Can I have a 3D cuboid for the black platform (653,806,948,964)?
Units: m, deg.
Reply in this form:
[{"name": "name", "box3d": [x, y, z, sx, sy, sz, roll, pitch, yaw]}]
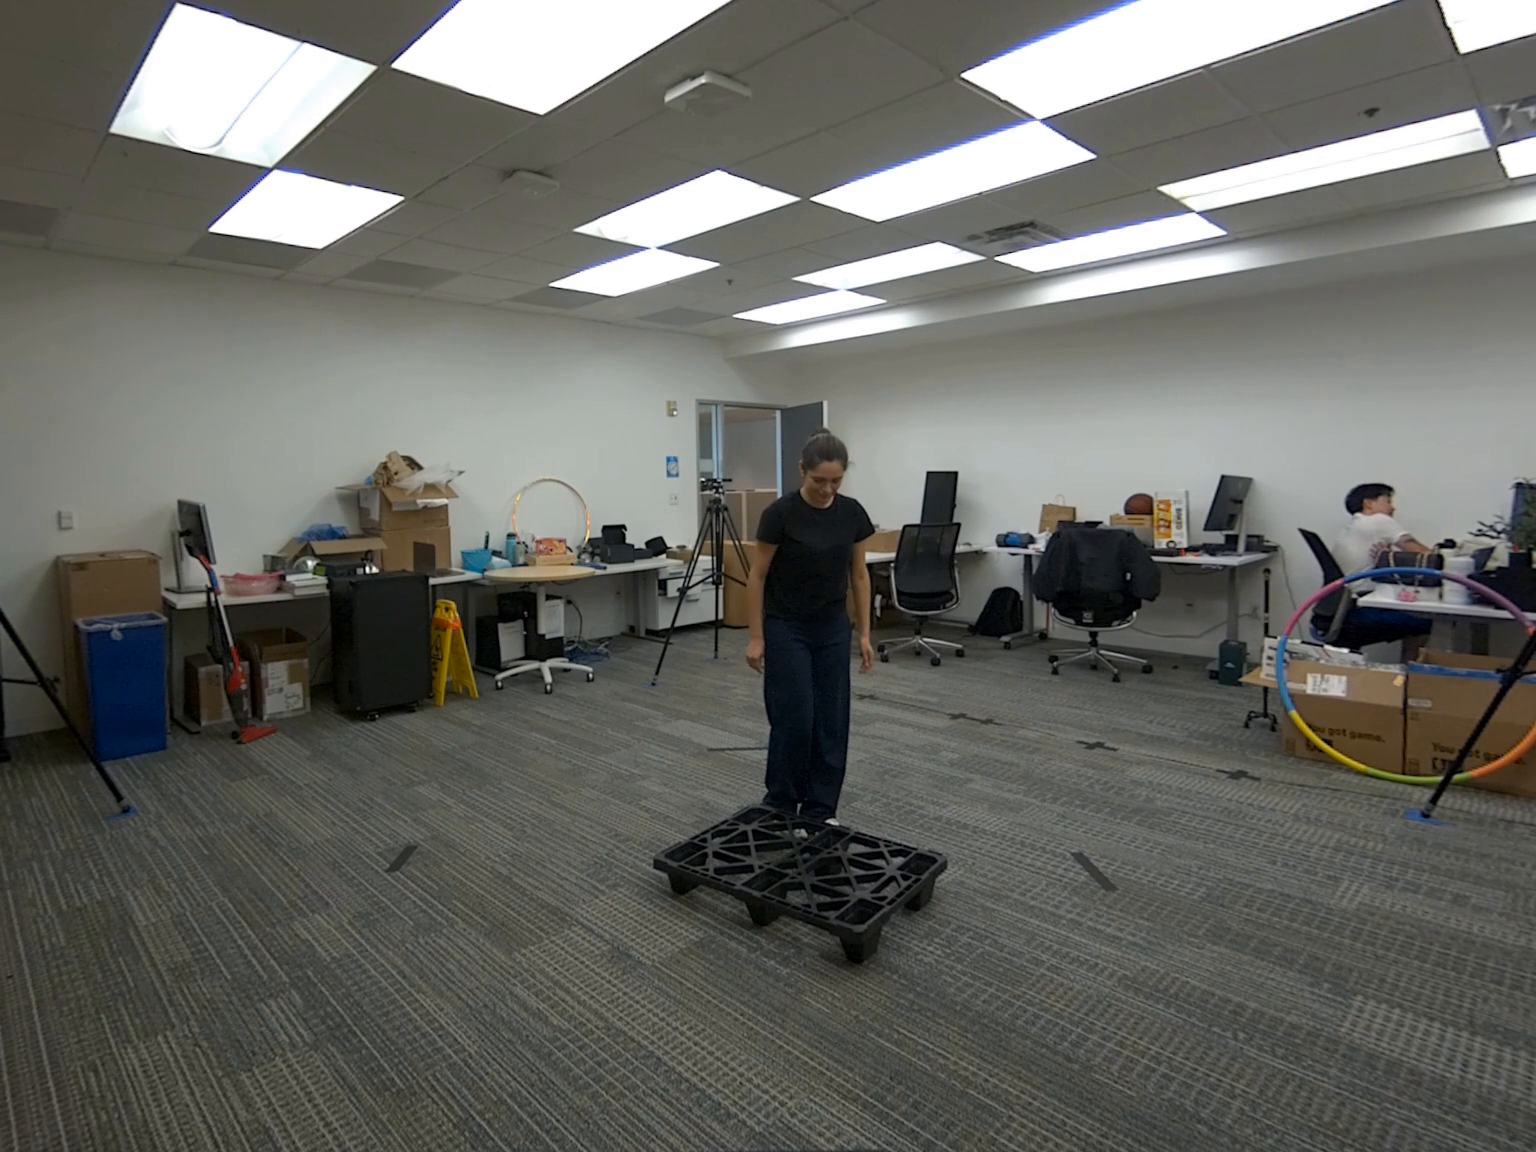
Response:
[{"name": "black platform", "box3d": [0.103, 1.002, 2.876, 0.829, 0.143, 0.590, 4, 8, 37]}]
